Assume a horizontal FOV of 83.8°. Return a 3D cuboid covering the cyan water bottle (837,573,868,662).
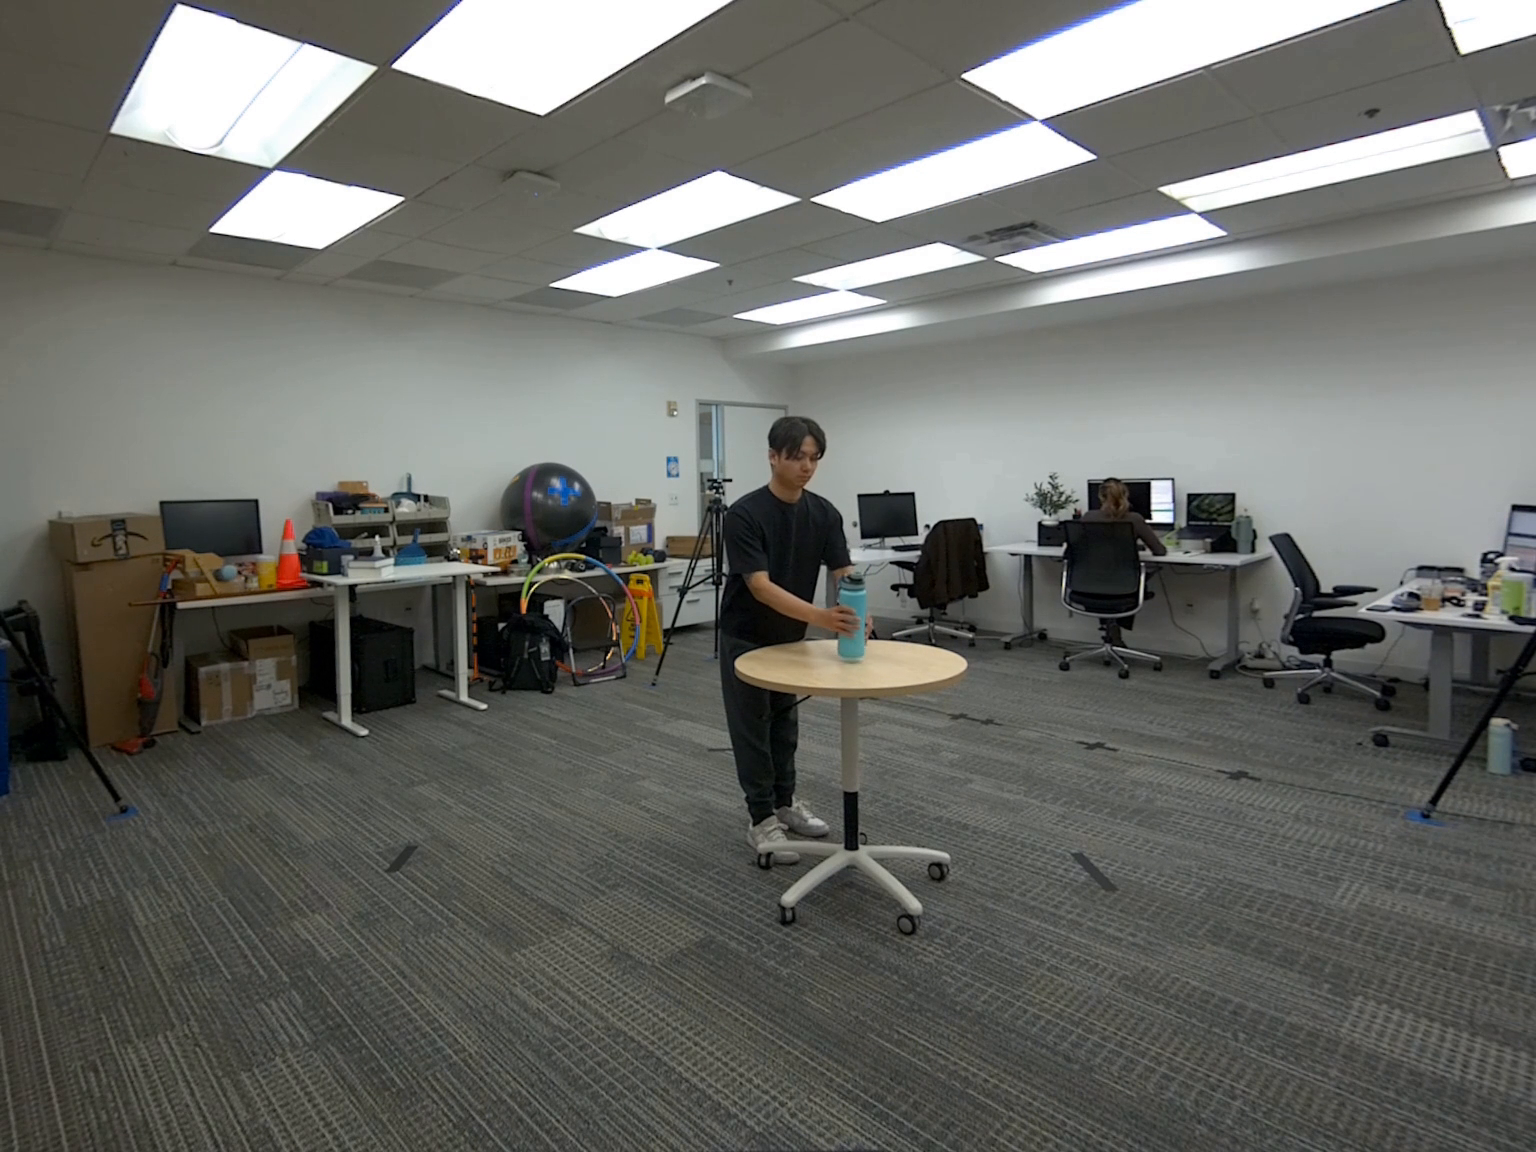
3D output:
[{"bbox_3d":[0.279,0.125,2.820,0.092,0.280,0.093,-1,11,-1],"label":"cyan water bottle"}]
